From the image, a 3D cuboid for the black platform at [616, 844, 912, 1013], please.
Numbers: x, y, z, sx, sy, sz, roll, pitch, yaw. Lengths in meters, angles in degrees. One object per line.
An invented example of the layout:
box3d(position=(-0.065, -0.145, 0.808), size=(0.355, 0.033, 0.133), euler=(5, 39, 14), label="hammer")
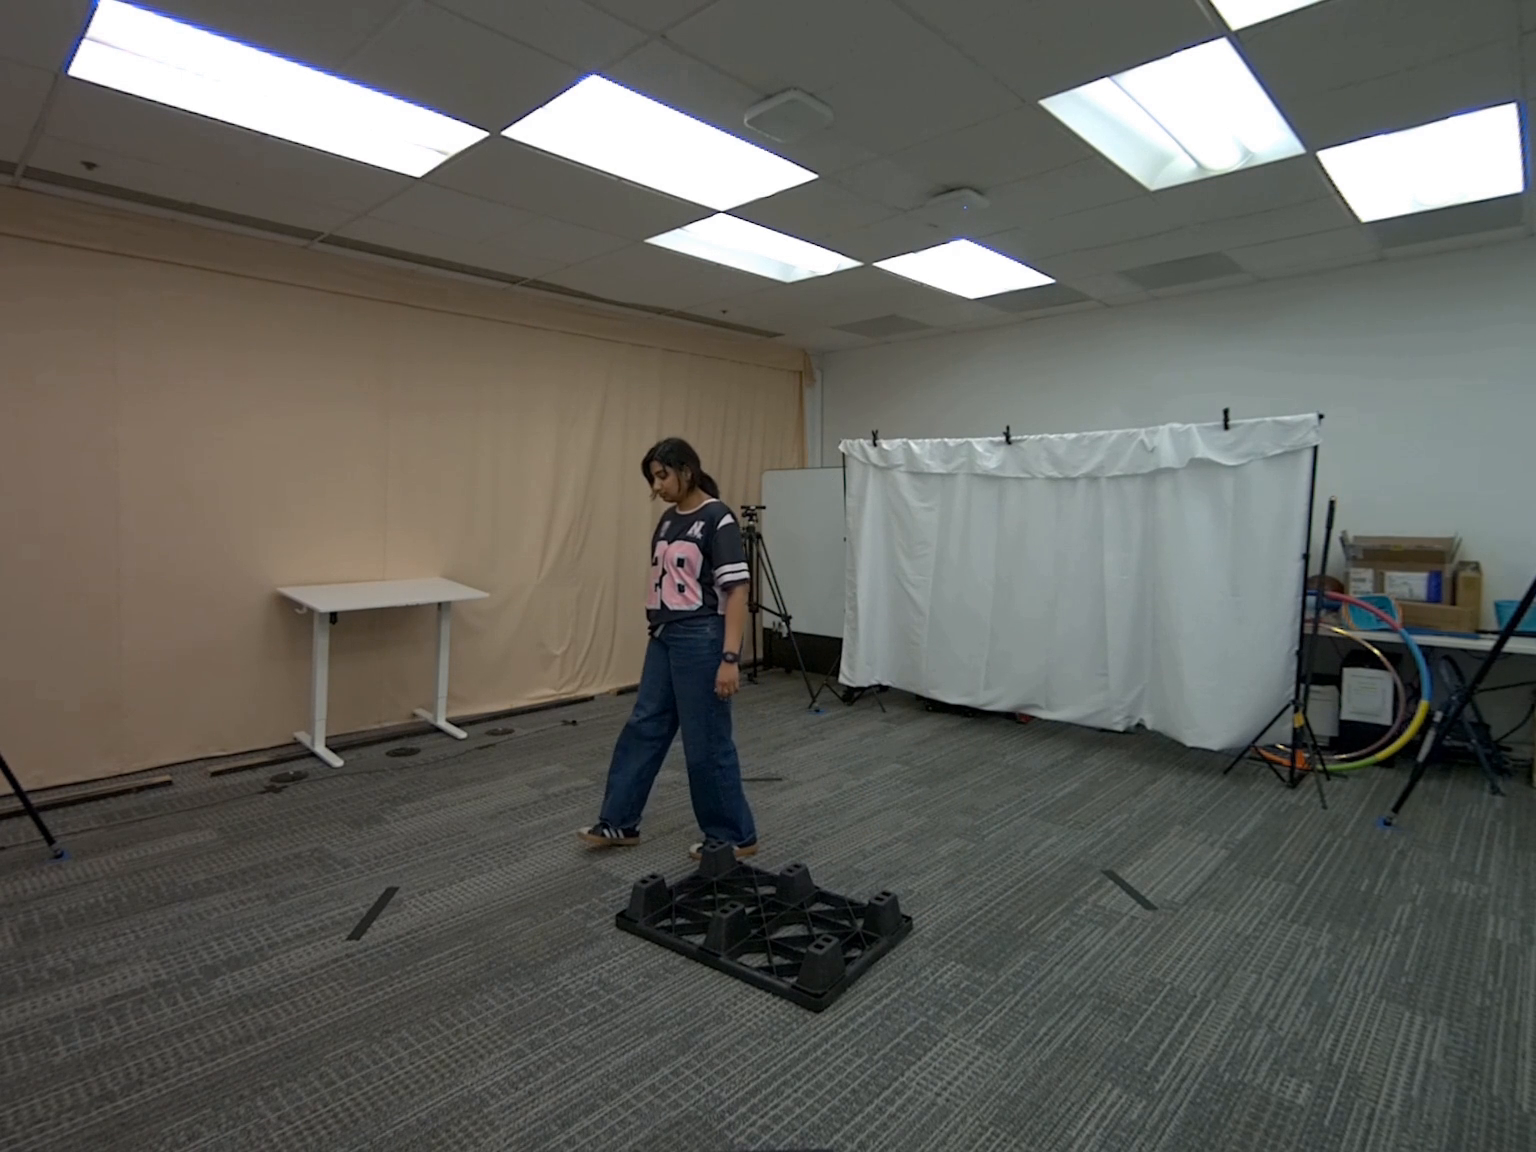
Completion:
box3d(position=(-0.017, 1.097, 2.773), size=(0.831, 0.143, 0.587), euler=(3, 5, 37), label="black platform")
